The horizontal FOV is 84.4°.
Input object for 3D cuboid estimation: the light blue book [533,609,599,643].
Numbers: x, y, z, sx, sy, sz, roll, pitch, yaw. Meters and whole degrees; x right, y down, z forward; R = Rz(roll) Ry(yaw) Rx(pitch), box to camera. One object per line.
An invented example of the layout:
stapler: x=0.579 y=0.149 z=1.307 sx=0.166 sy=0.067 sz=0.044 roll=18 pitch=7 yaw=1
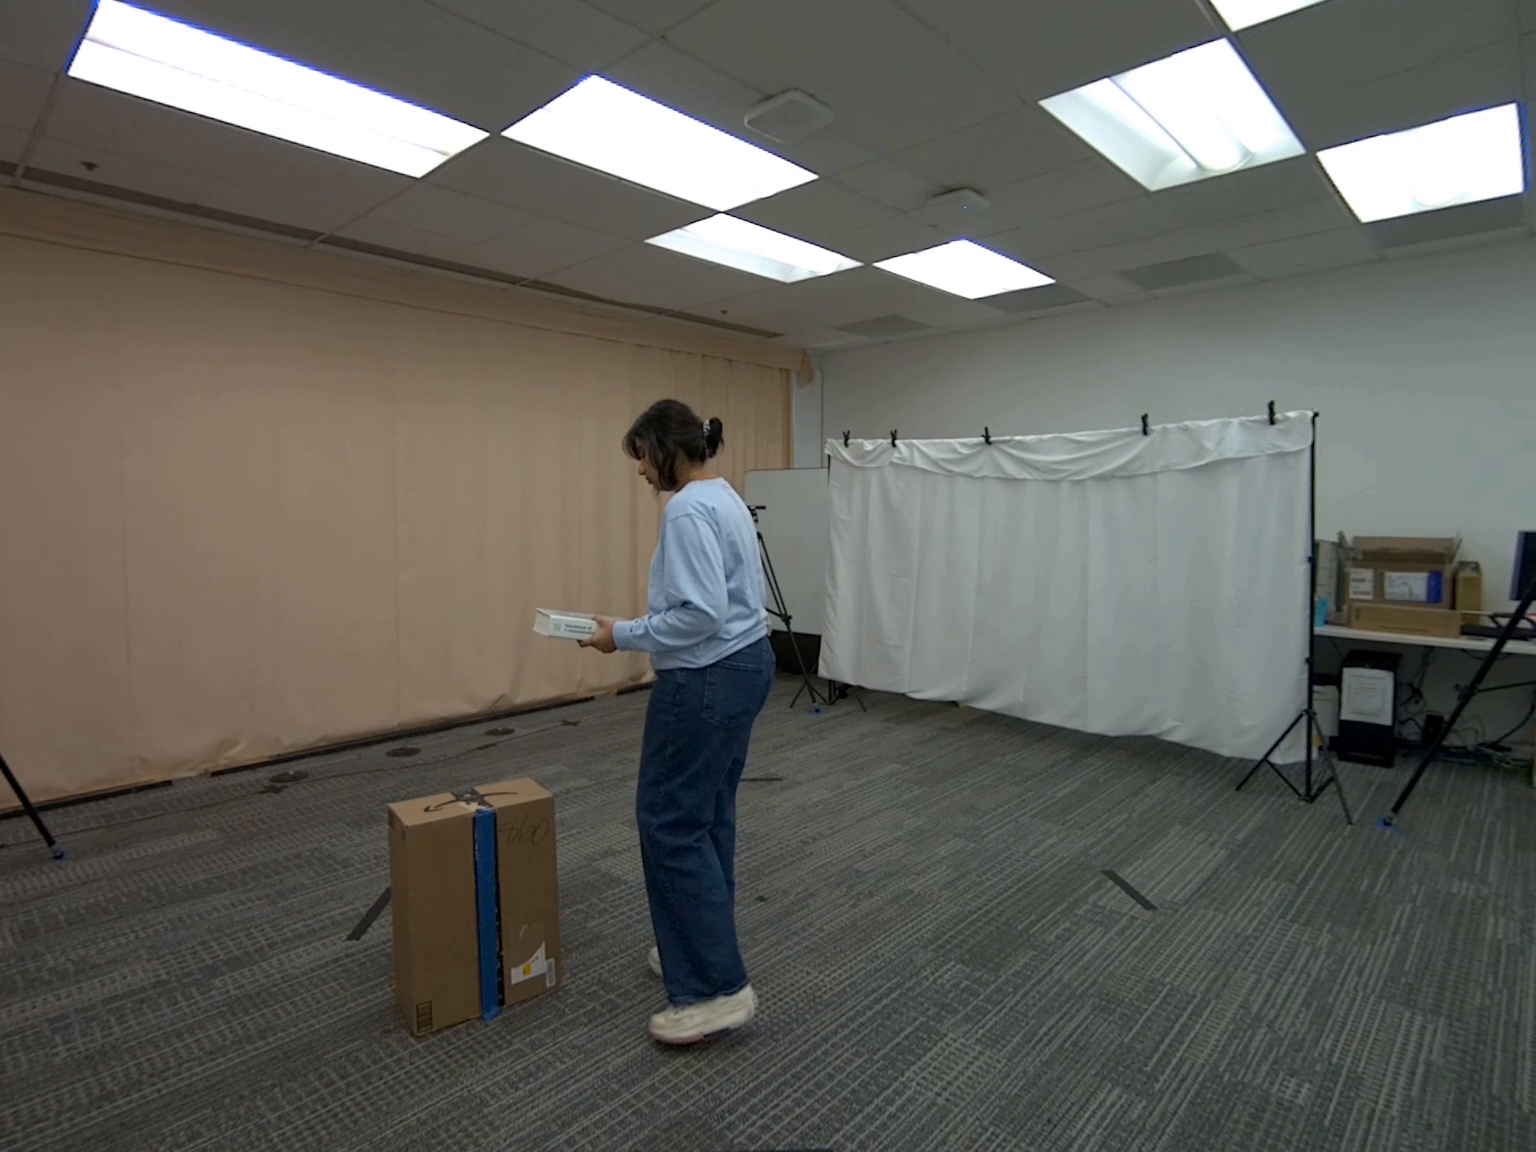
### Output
light blue book: x=-0.507 y=0.152 z=2.352 sx=0.254 sy=0.059 sz=0.196 roll=9 pitch=-2 yaw=-27
